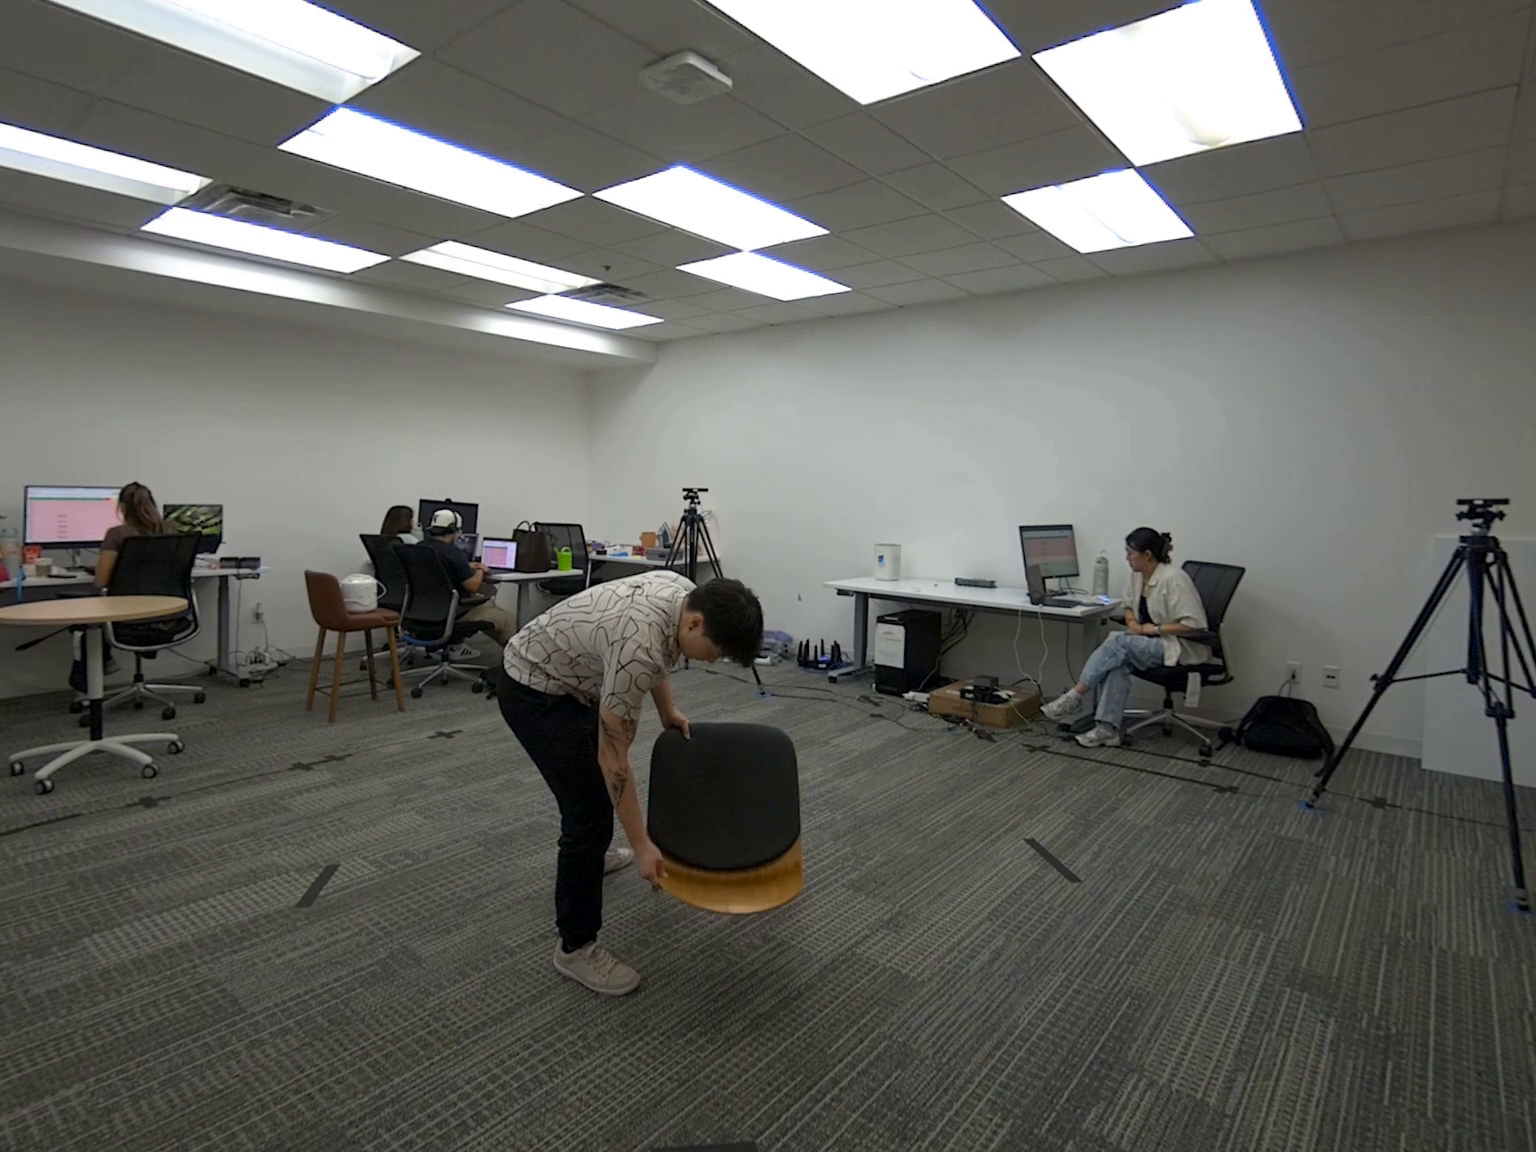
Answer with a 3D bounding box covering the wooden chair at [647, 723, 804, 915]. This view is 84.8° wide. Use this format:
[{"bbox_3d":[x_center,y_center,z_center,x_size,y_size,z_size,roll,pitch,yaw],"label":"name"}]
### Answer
[{"bbox_3d":[-0.146,0.728,2.657,0.476,0.531,0.867,1,-16,-5],"label":"wooden chair"}]
